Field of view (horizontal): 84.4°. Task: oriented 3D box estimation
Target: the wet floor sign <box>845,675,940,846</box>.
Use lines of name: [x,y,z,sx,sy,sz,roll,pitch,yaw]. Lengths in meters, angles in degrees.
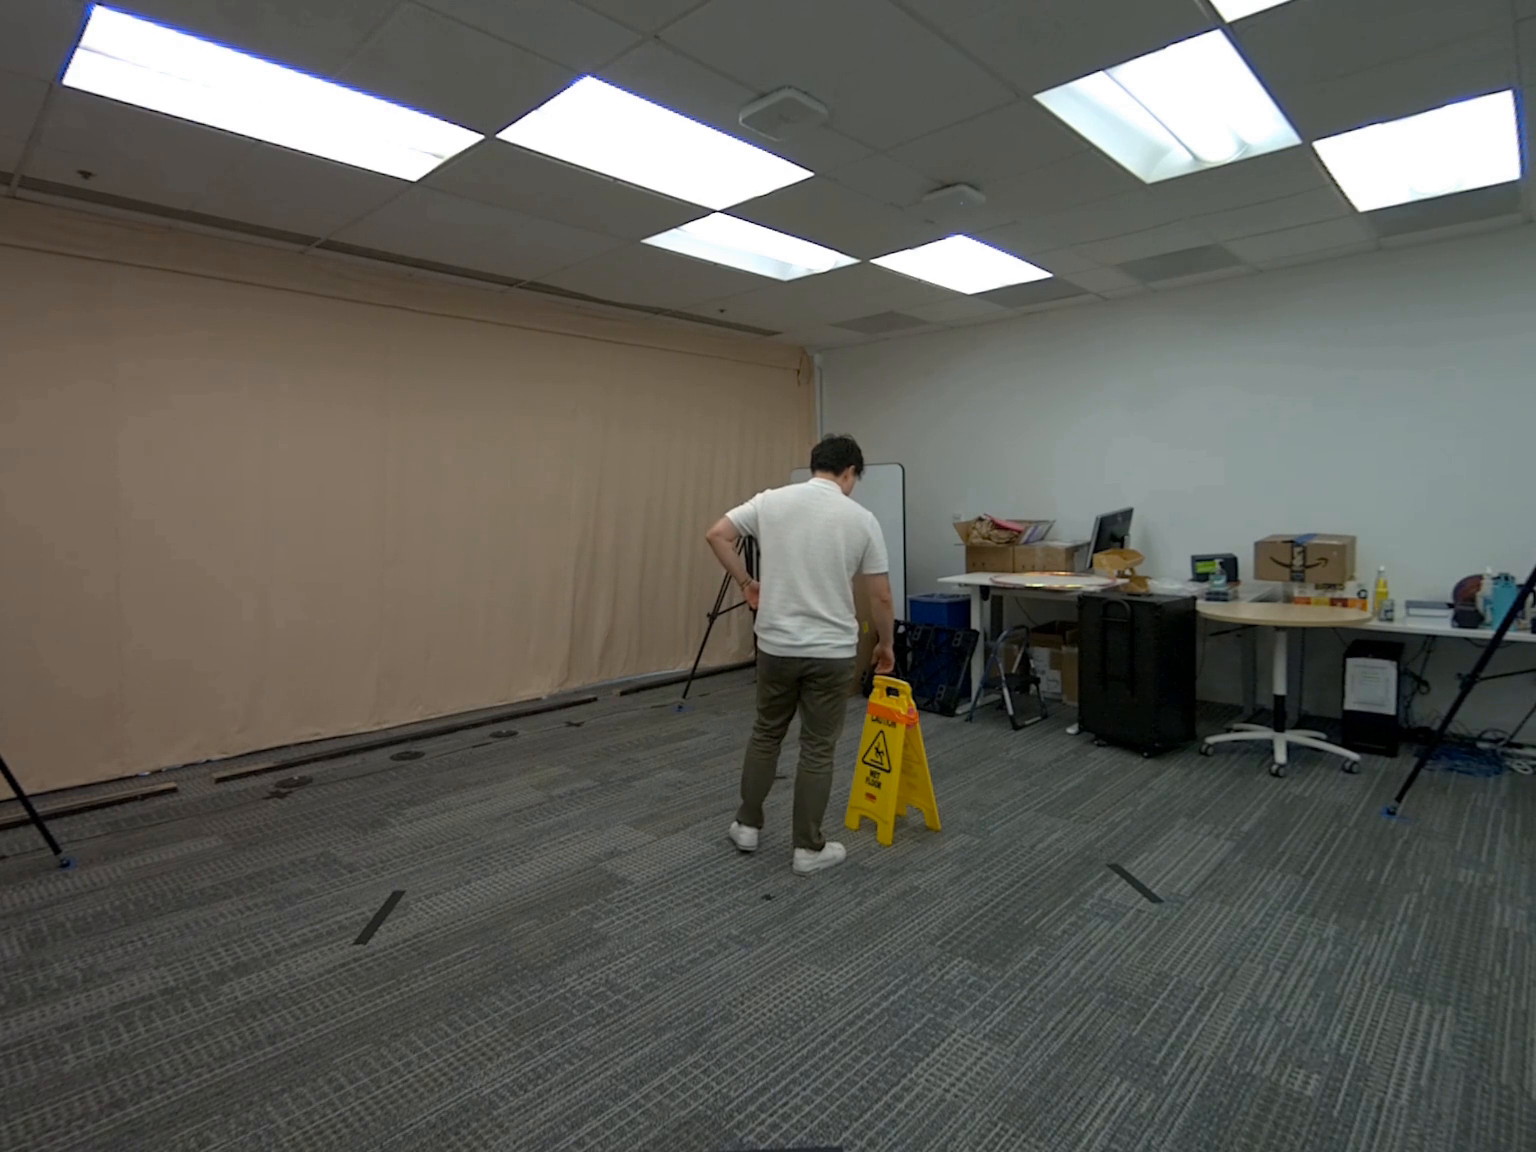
wet floor sign: [0.530,0.758,3.583,0.281,0.645,0.291,-2,3,-35]
